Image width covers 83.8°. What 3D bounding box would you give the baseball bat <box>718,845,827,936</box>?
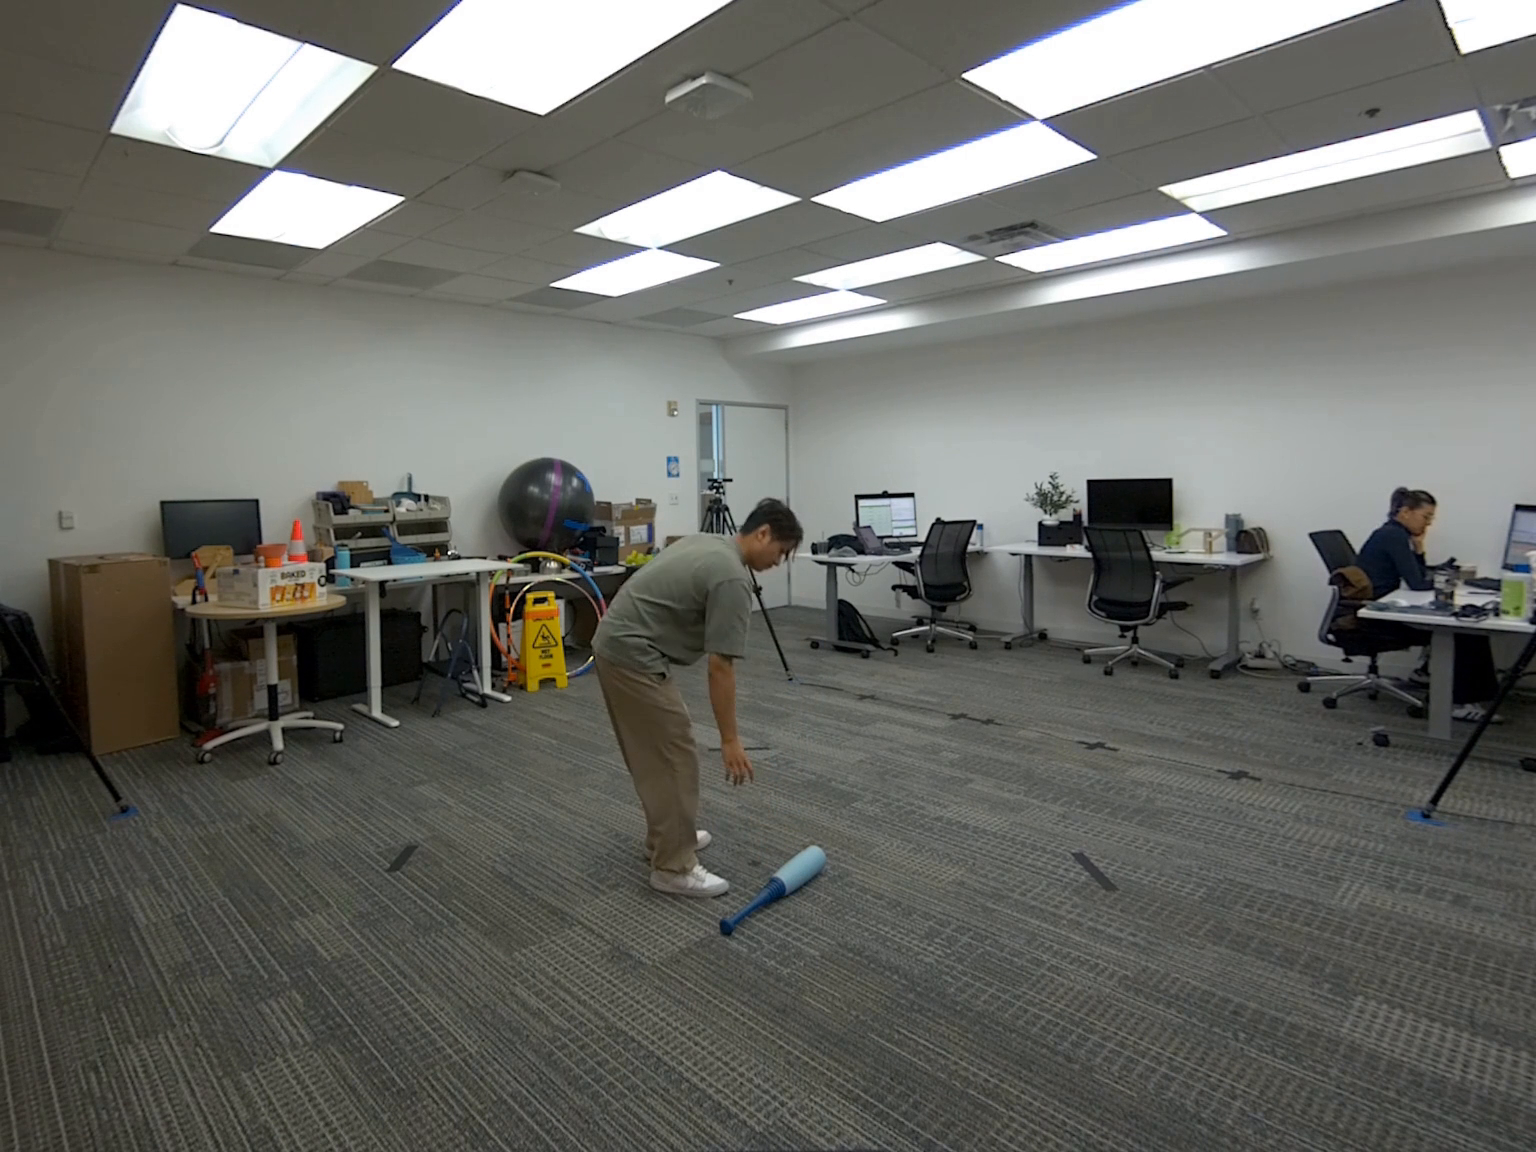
[{"bbox_3d":[0.027,1.044,2.826,0.091,0.088,0.531,3,11,37],"label":"baseball bat"}]
